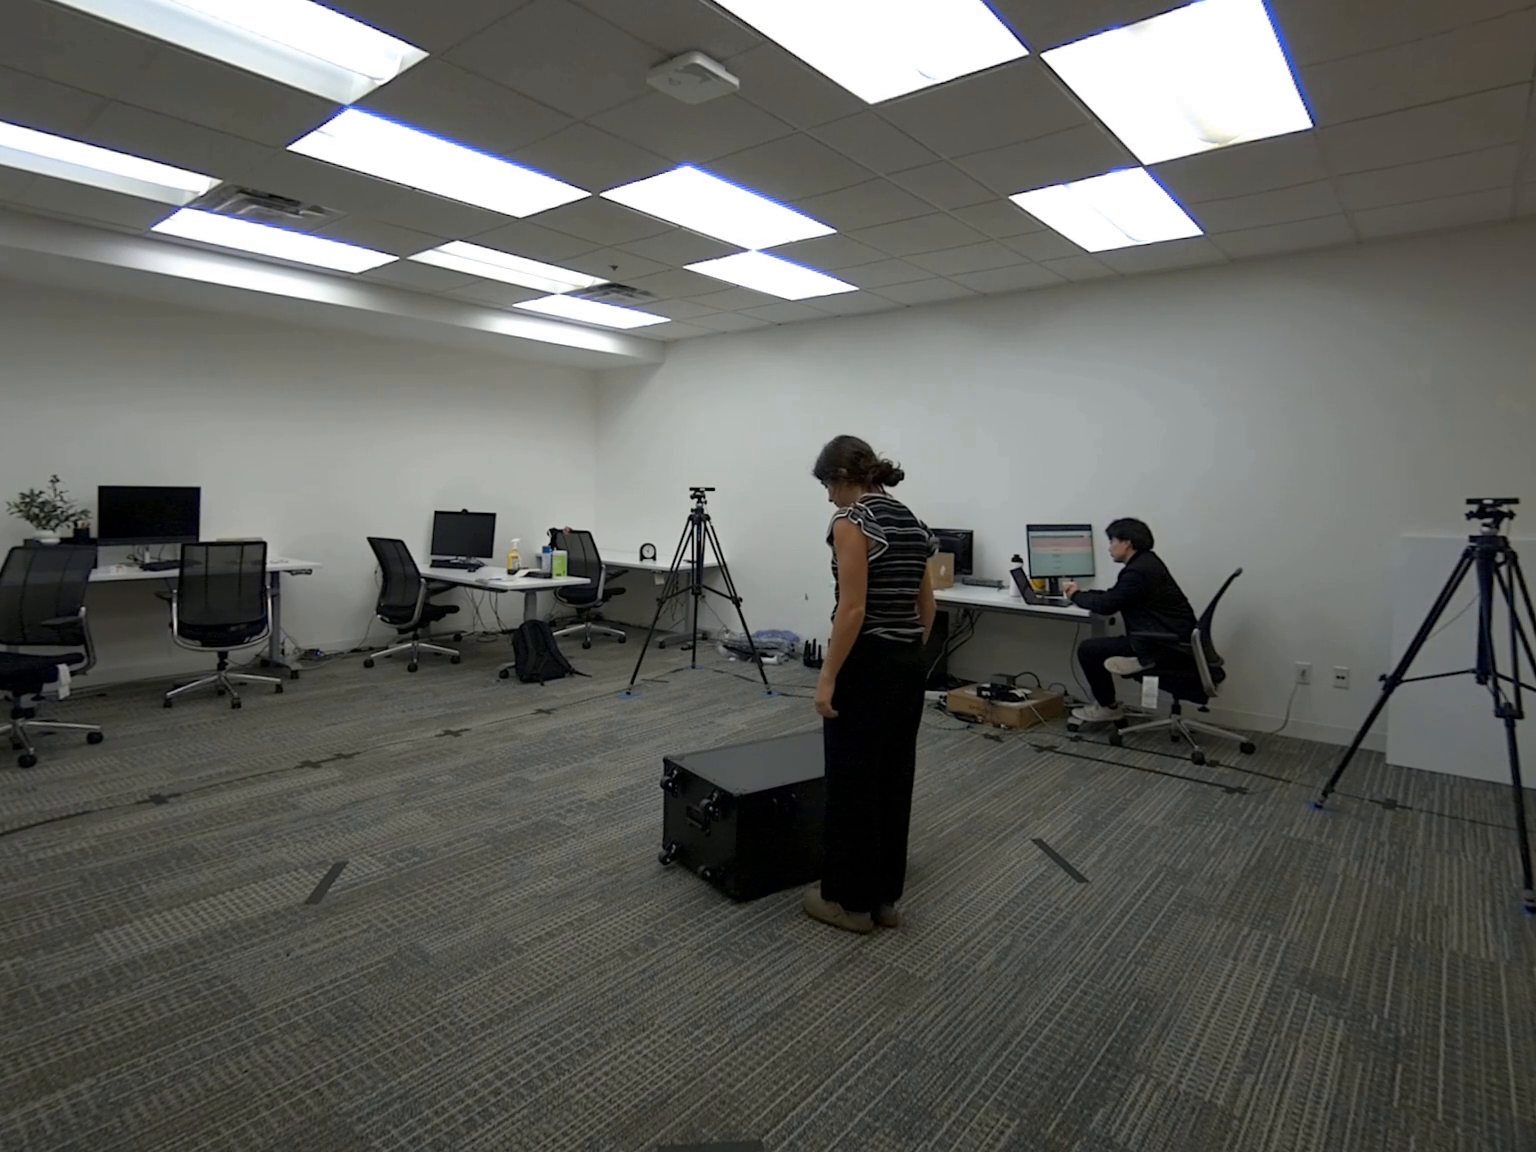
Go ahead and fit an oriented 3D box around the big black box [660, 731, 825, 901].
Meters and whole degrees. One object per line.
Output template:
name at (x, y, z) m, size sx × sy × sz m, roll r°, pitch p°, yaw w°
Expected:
big black box at (0.021, 0.869, 3.214) m, size 0.836 × 0.395 × 0.538 m, roll -2°, pitch 6°, yaw -36°
